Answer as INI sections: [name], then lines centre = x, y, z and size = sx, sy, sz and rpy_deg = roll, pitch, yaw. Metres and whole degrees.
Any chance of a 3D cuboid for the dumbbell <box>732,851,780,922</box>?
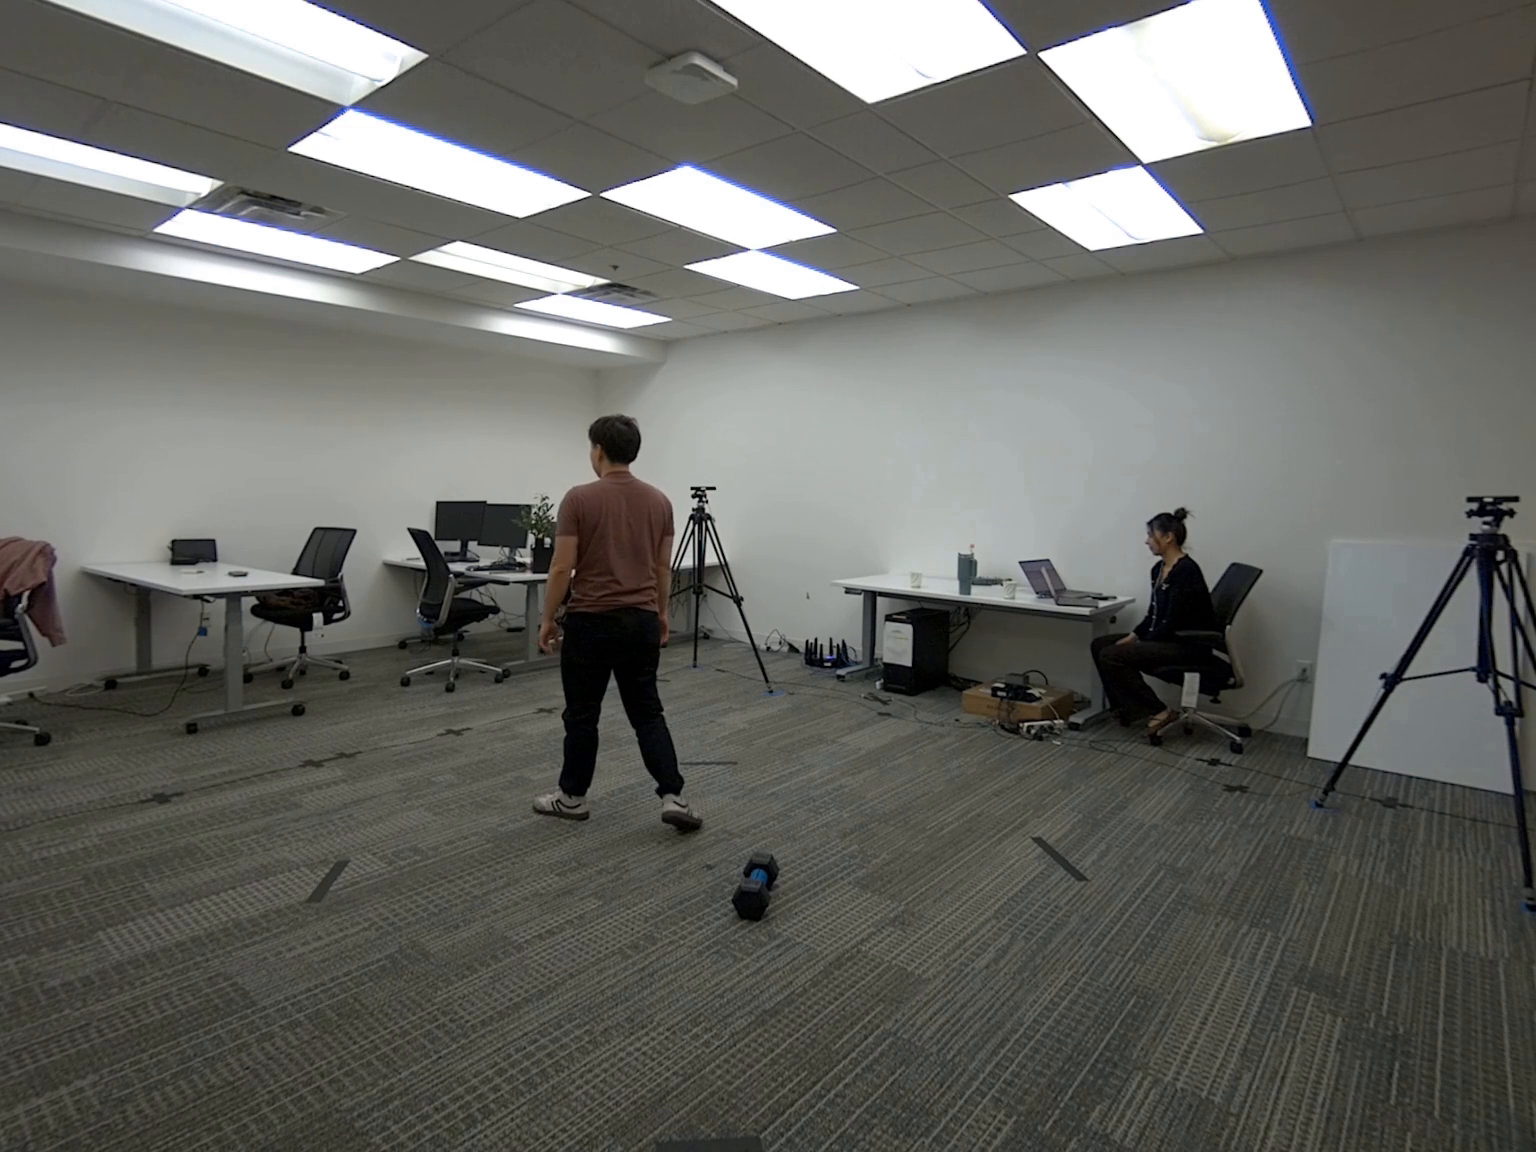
[dumbbell]
centre = -0.045, 1.036, 2.867
size = 0.109, 0.123, 0.291
rpy_deg = -31, -1, 10
